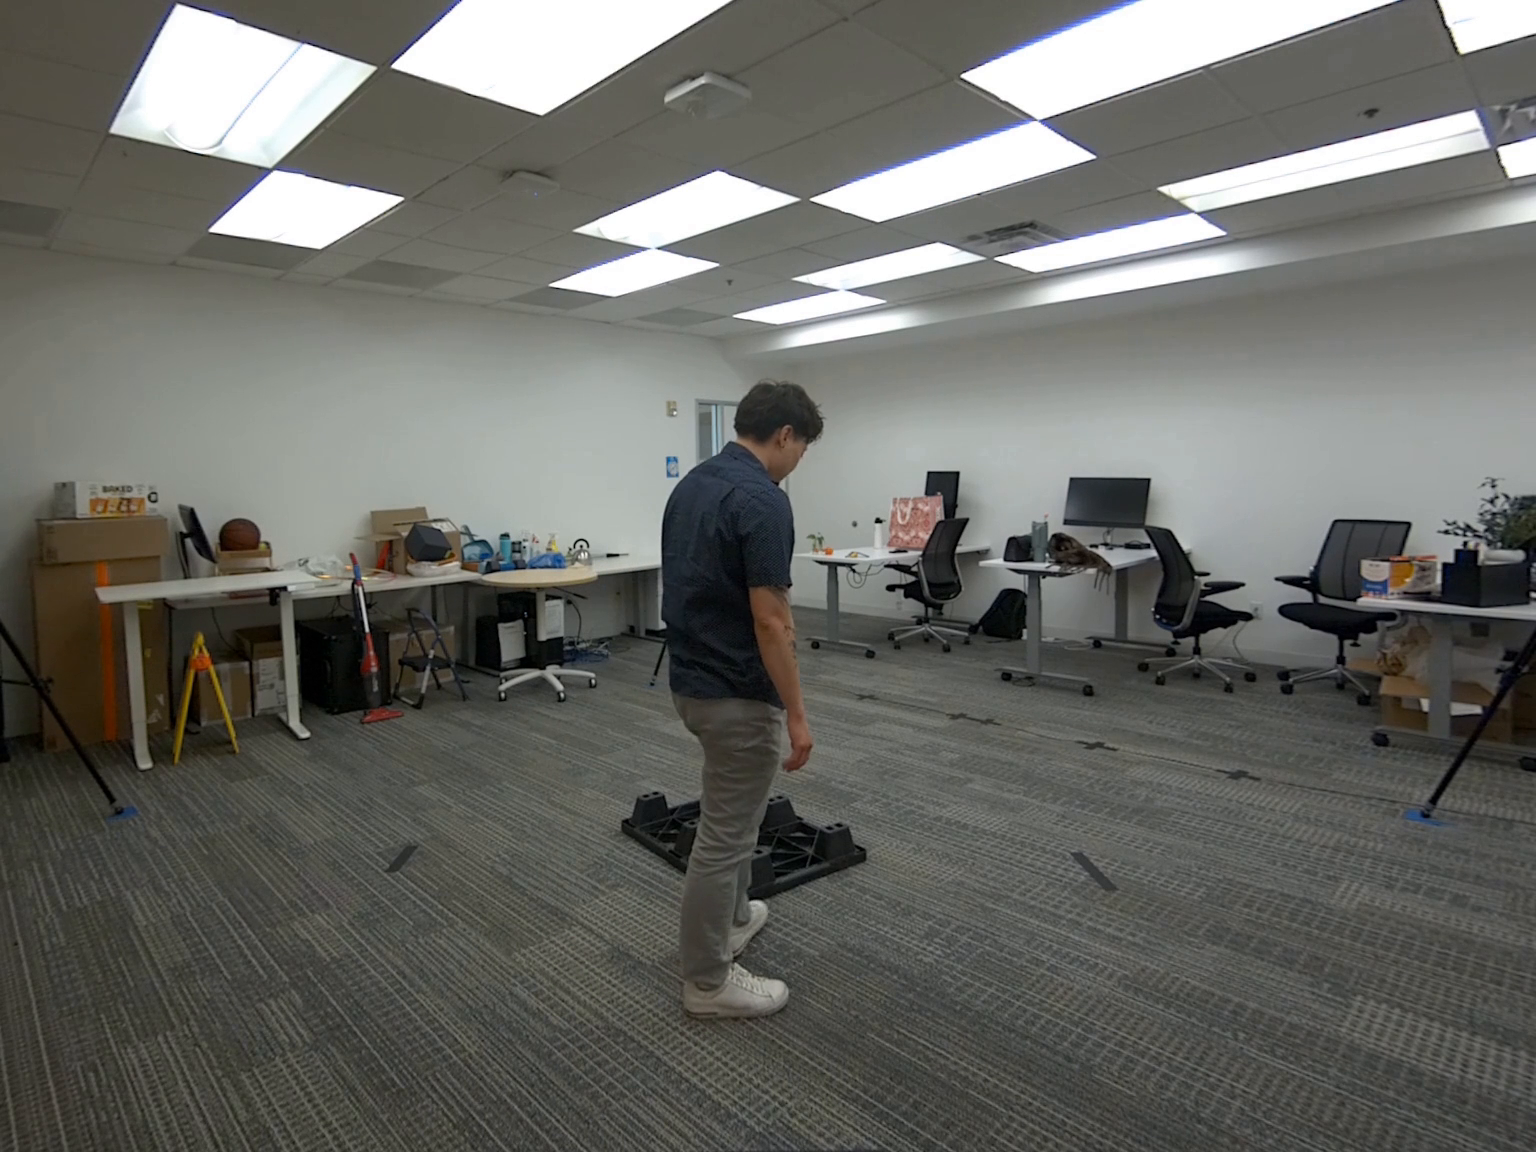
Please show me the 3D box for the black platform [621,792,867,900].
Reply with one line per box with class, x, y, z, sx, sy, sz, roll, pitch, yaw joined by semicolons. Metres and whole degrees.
black platform;-0.109;0.960;3.263;0.590;0.142;0.830;-6;9;-37
